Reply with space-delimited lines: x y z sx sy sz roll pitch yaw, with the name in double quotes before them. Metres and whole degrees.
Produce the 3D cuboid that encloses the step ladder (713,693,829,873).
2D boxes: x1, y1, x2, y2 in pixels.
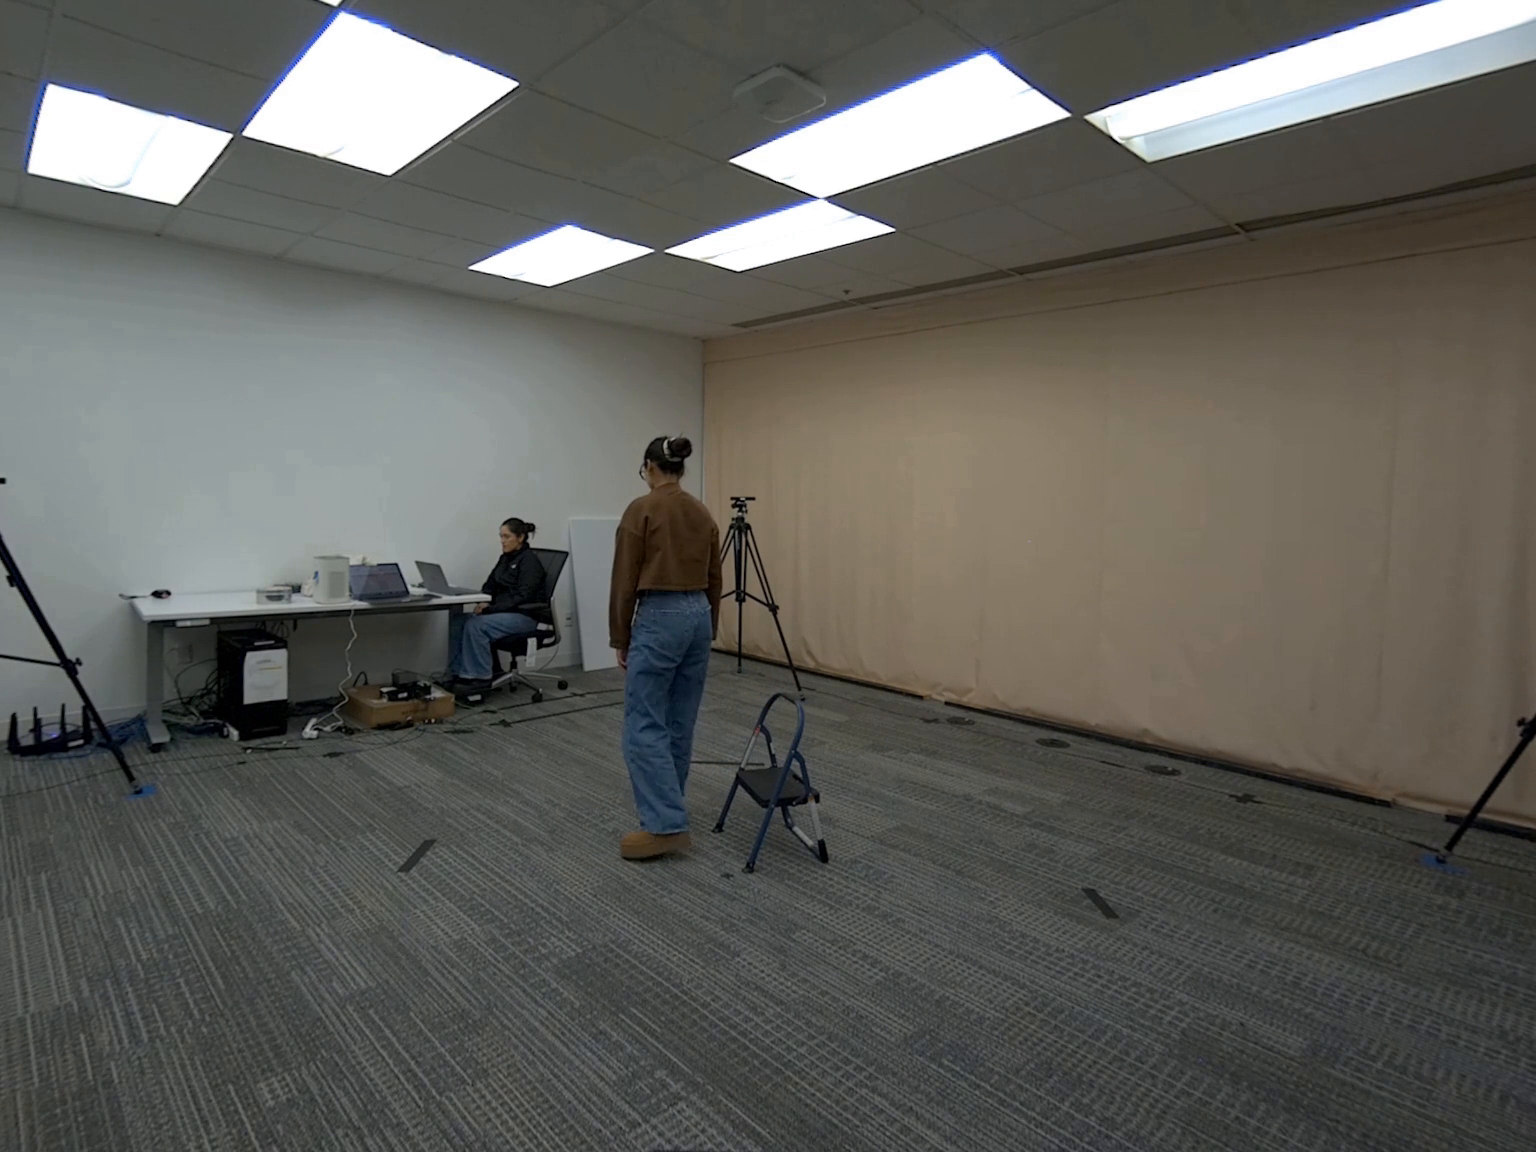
"step ladder" 0.003 0.787 3.364 0.344 0.604 0.438 0 4 -20
